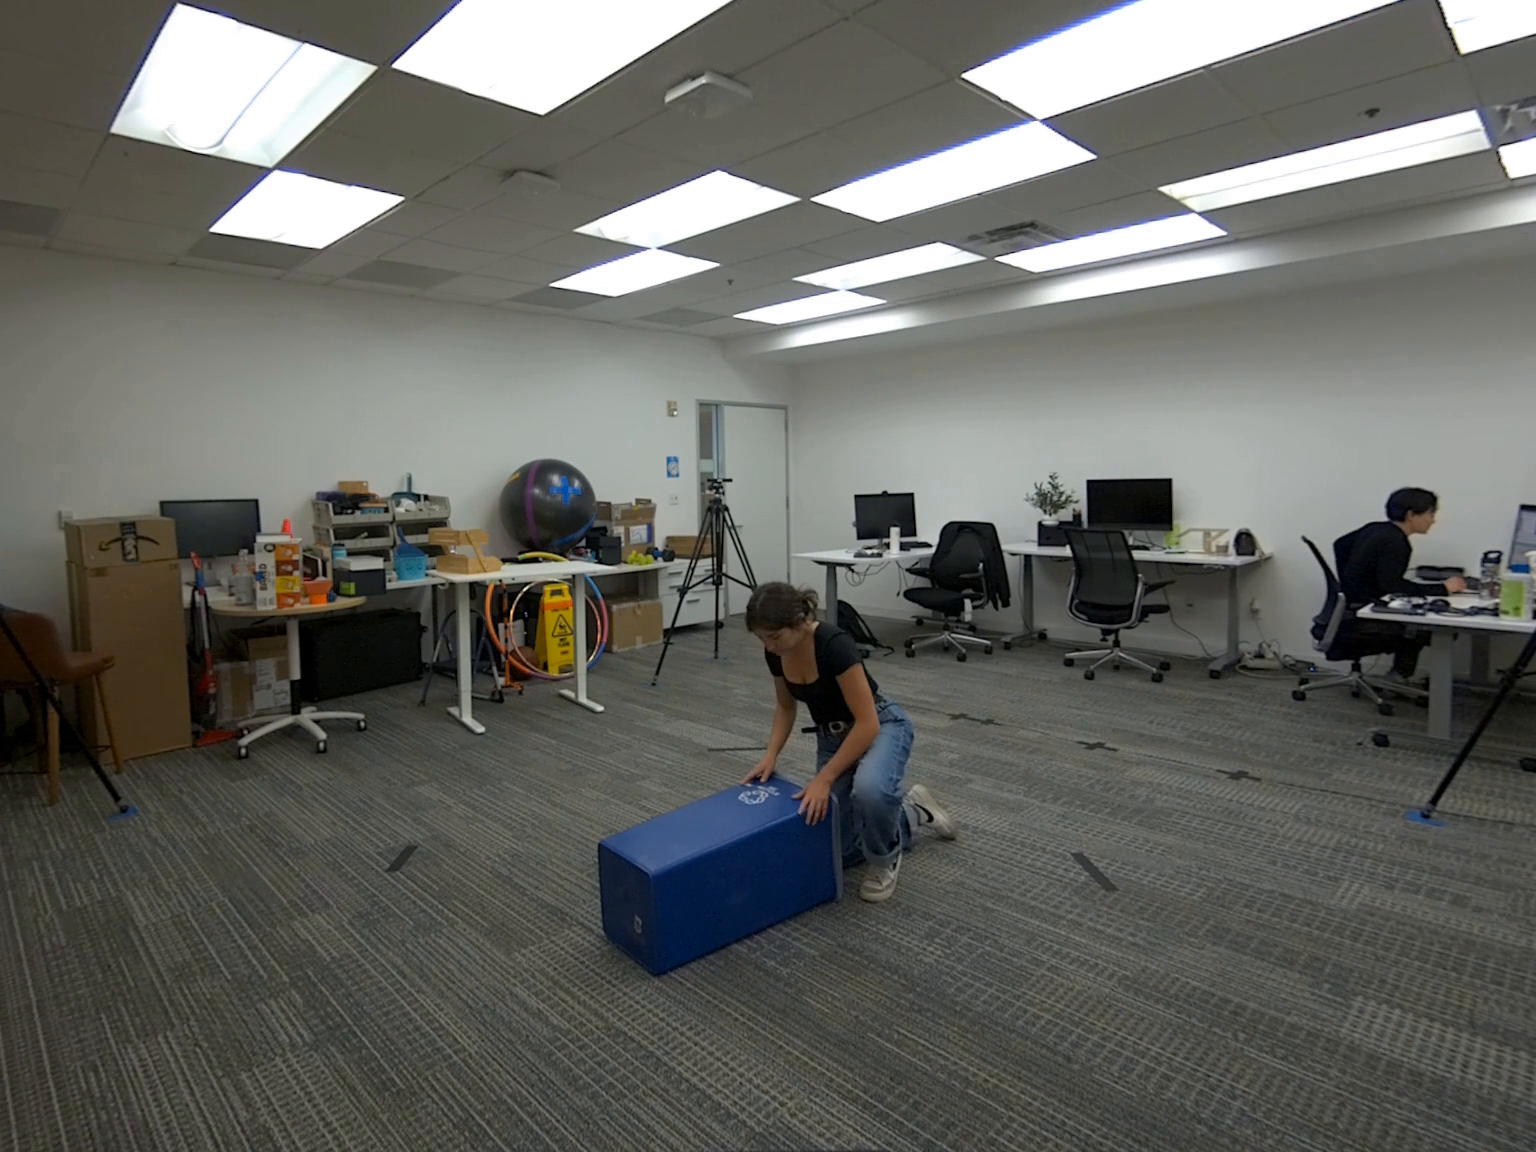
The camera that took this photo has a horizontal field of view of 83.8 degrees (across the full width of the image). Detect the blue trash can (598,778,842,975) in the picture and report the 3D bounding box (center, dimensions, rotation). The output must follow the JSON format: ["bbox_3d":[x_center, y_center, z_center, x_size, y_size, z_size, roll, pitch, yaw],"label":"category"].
[{"bbox_3d":[-0.144,0.928,2.713,0.696,0.376,0.385,-10,10,-40],"label":"blue trash can"}]
